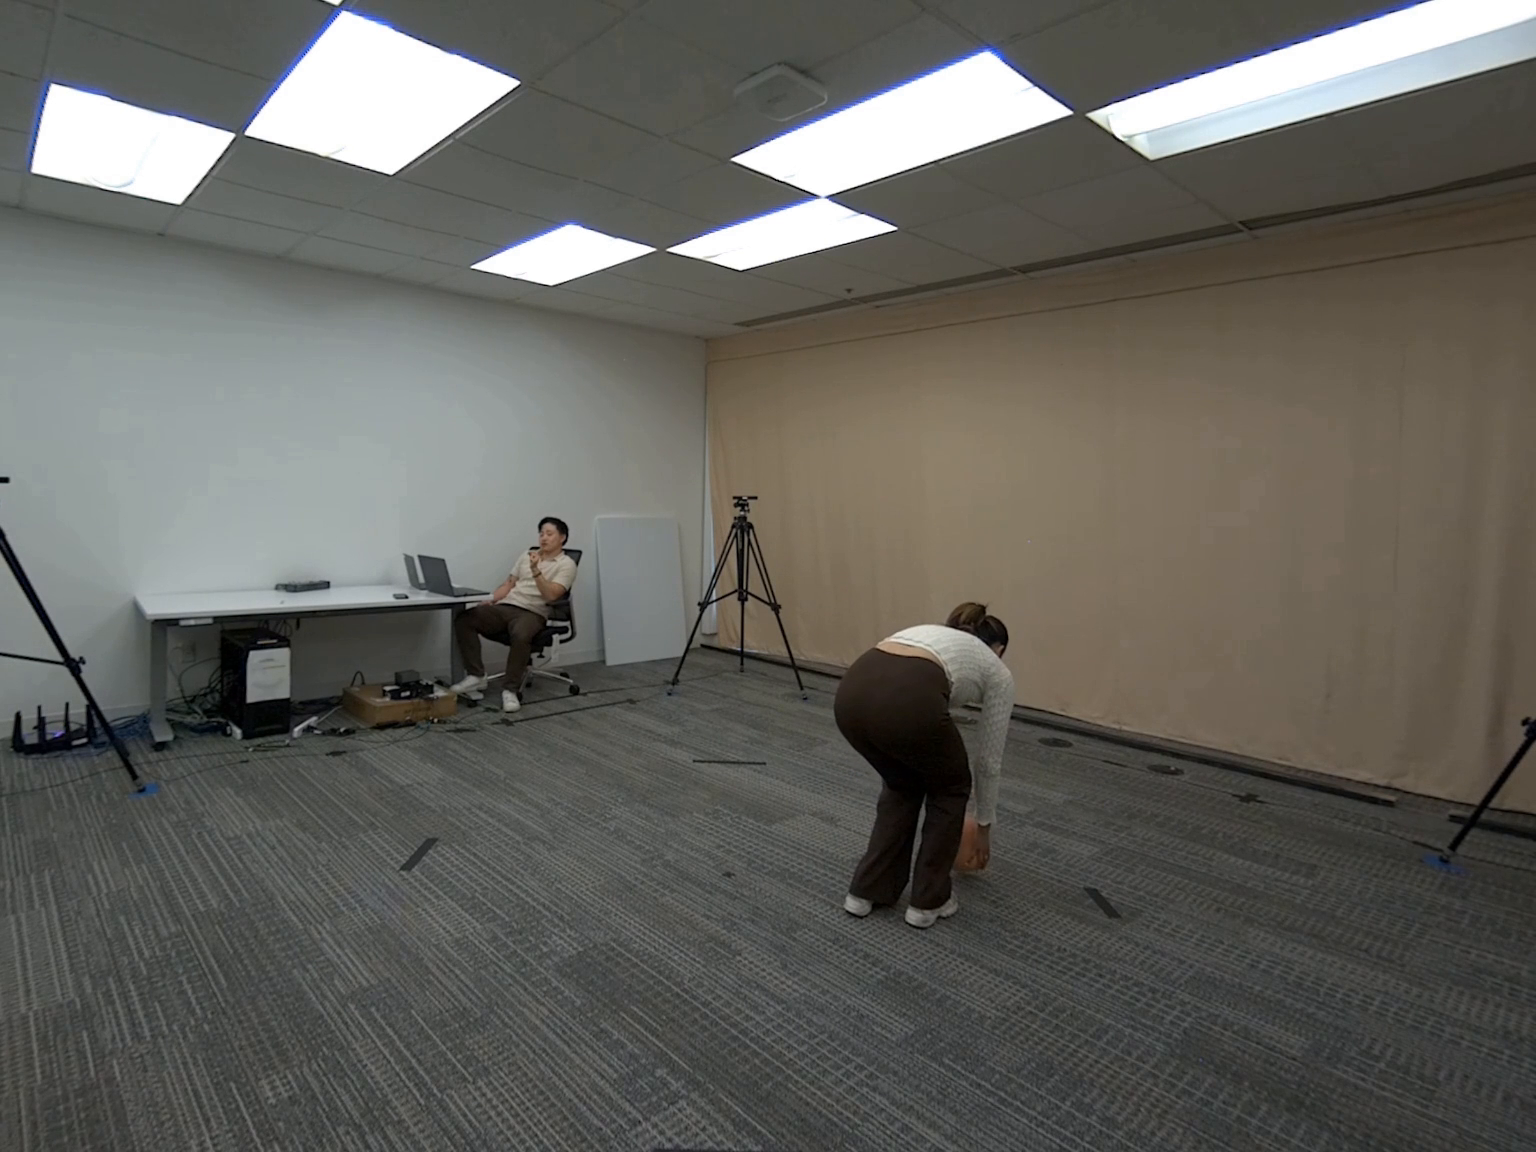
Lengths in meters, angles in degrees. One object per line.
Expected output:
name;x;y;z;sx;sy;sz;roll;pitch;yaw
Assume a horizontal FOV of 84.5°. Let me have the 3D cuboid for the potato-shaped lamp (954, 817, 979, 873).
potato-shaped lamp;0.713;0.981;3.106;0.169;0.198;0.167;3;-1;39
